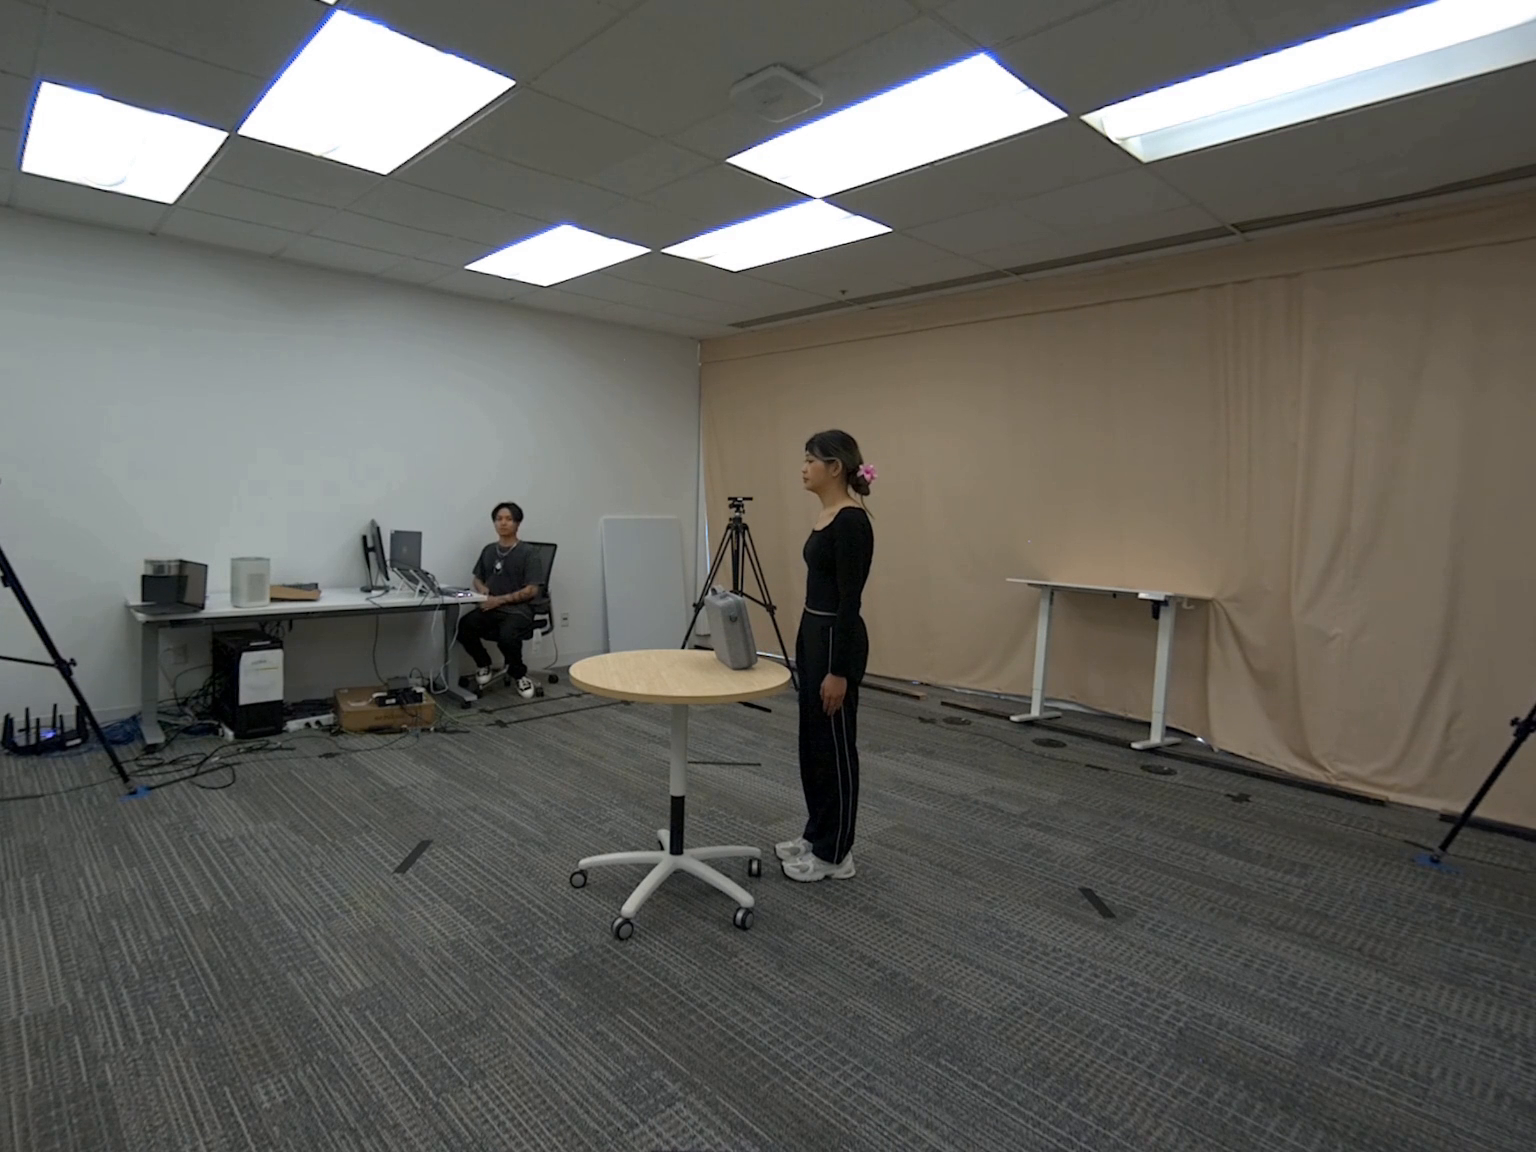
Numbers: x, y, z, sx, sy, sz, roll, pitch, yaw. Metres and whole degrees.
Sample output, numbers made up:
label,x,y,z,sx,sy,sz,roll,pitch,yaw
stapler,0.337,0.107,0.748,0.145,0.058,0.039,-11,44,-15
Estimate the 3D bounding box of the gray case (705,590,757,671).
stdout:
label,x,y,z,sx,sy,sz,roll,pitch,yaw
gray case,-0.139,0.188,3.047,0.103,0.259,0.261,-12,7,-16
